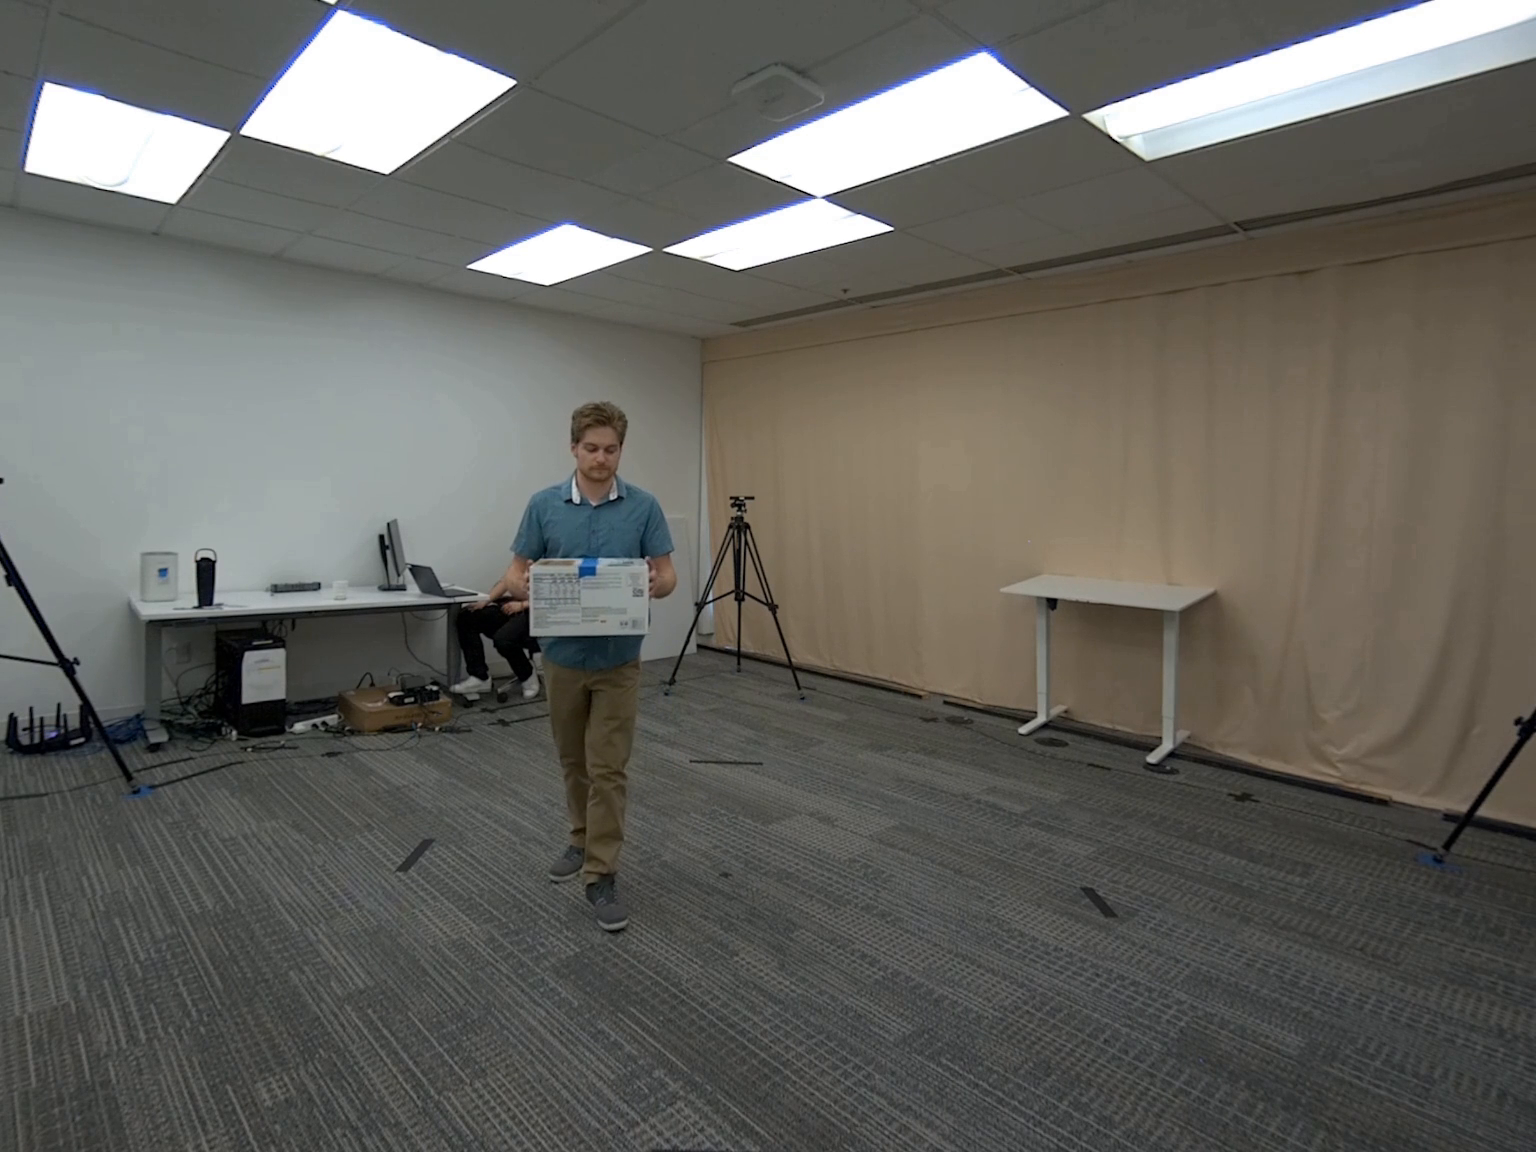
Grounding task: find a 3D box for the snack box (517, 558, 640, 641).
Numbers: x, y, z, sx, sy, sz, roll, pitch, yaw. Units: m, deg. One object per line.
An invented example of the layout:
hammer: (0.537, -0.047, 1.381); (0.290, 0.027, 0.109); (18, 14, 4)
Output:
snack box: (-0.571, 0.061, 2.608); (0.338, 0.205, 0.408); (-1, 4, -8)
